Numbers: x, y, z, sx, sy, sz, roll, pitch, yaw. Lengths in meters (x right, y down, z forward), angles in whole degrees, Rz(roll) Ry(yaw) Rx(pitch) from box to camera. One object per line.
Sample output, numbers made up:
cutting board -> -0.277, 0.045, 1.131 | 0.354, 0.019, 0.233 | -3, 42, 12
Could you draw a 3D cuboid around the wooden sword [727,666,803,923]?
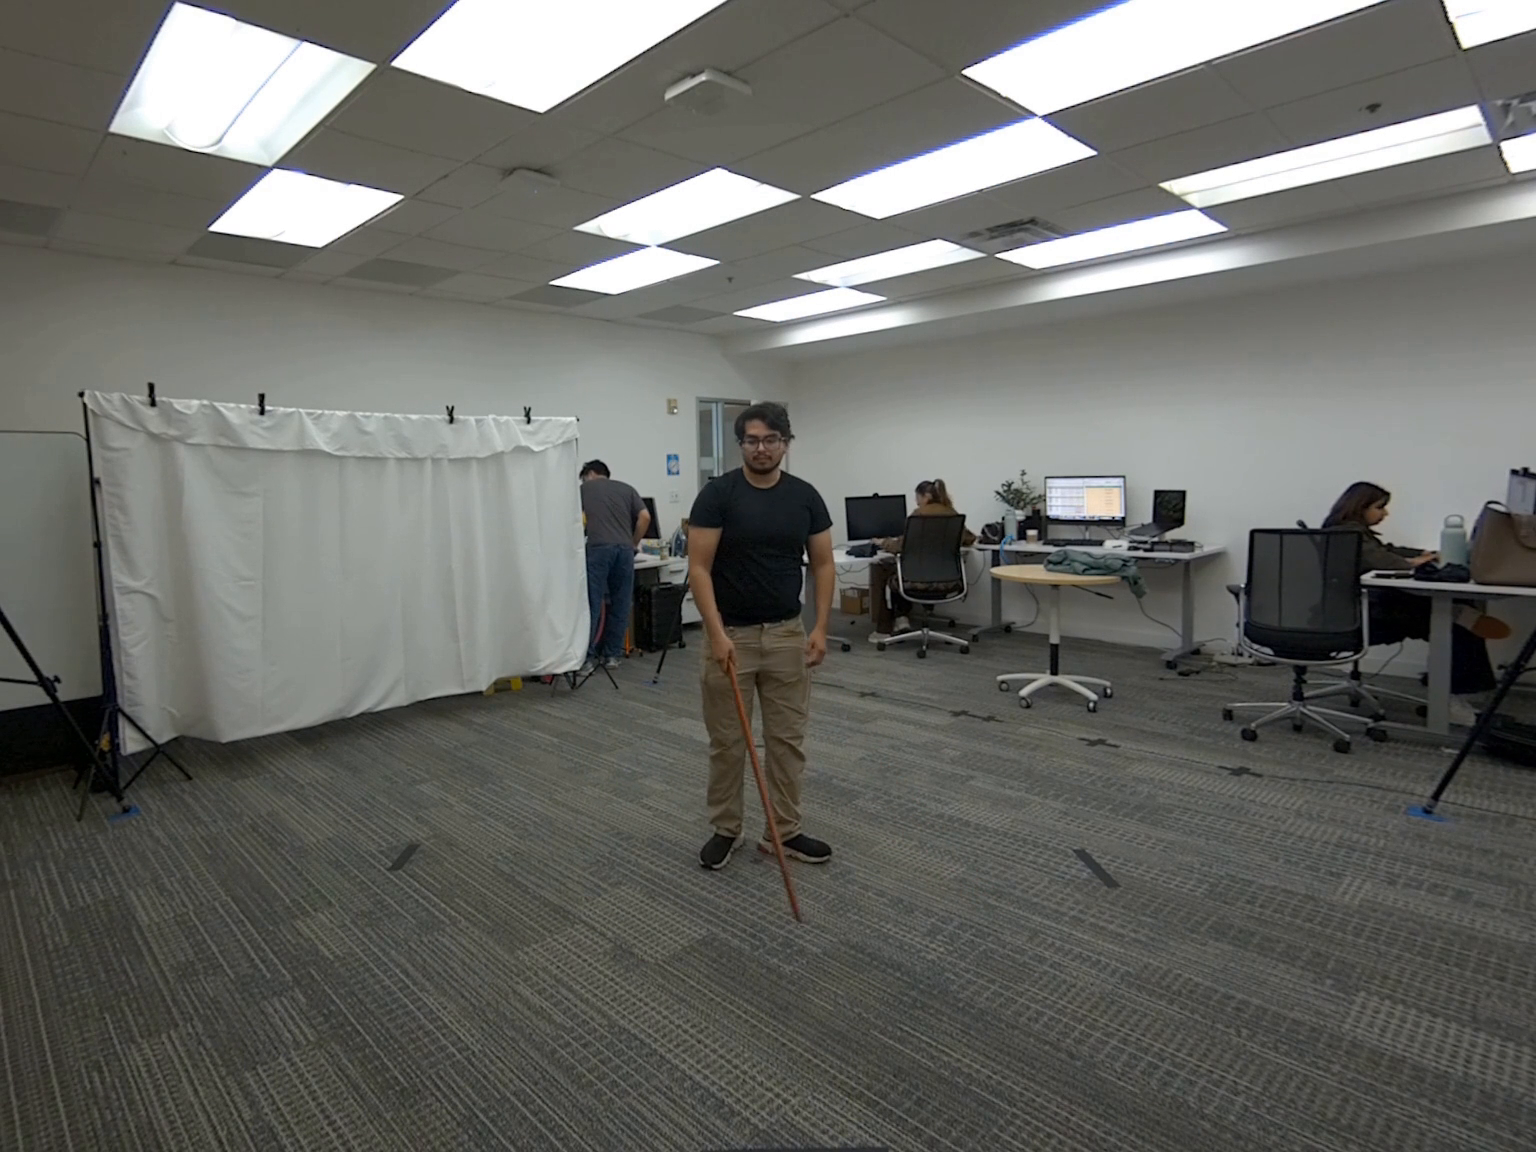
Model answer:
wooden sword -> -0.031, 0.572, 2.675 | 0.024, 1.059, 0.049 | -36, -38, 22
